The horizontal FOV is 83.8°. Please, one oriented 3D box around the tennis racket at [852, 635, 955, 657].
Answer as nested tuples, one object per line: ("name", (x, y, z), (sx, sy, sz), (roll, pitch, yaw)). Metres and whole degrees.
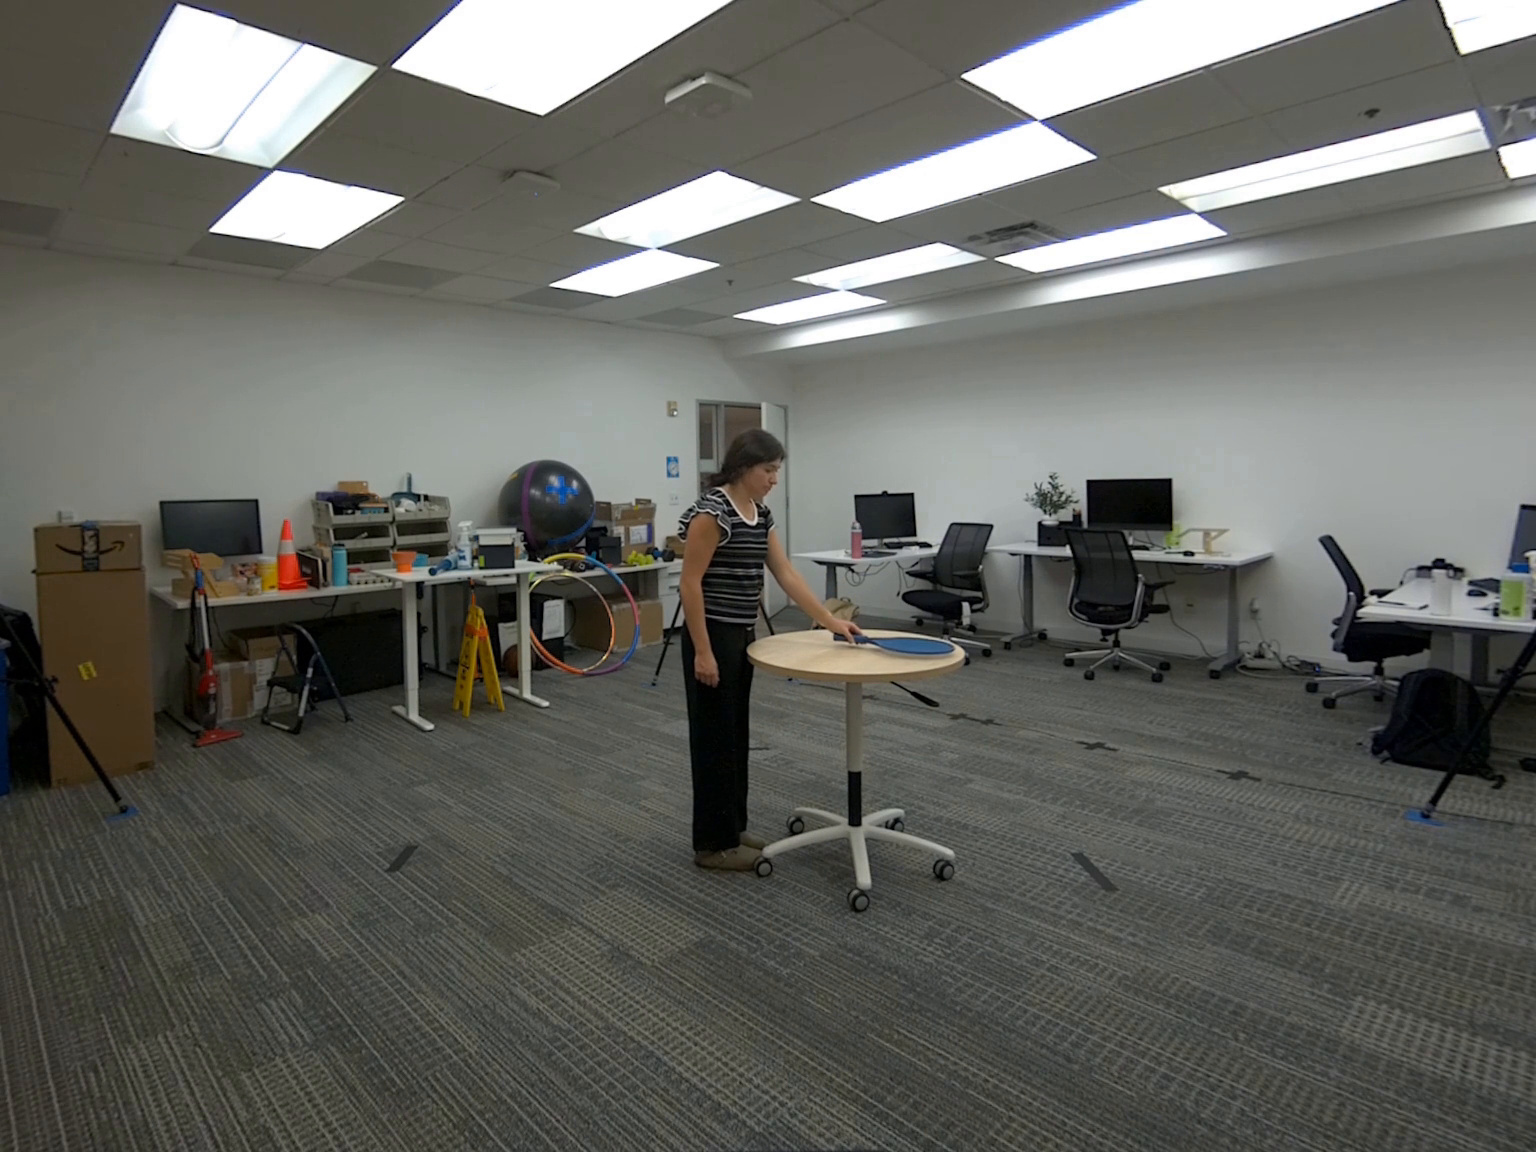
("tennis racket", (0.448, 0.242, 2.987), (0.443, 0.031, 0.210), (4, 8, 23))
